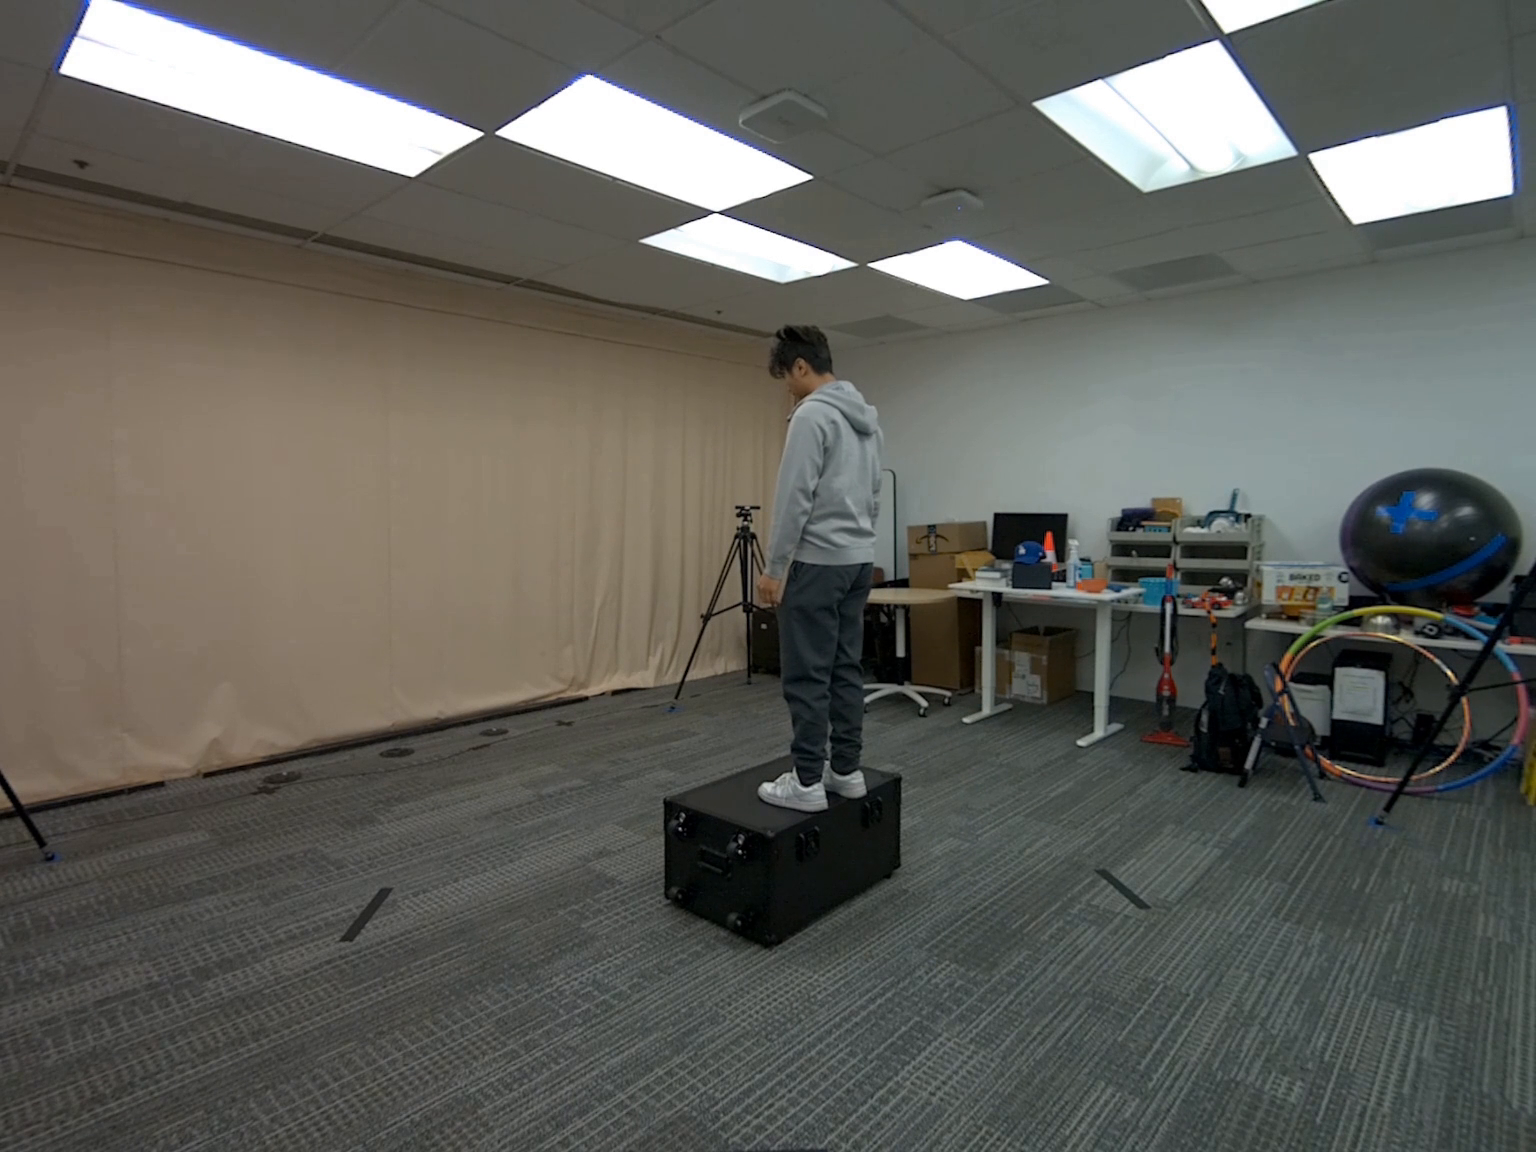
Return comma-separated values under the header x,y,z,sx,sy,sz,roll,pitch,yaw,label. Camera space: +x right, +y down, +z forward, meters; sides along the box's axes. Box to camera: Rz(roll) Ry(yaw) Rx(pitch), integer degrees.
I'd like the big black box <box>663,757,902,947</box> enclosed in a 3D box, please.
x,y,z,sx,sy,sz,roll,pitch,yaw,label
0.050,0.949,3.034,0.538,0.395,0.835,4,6,41,big black box
